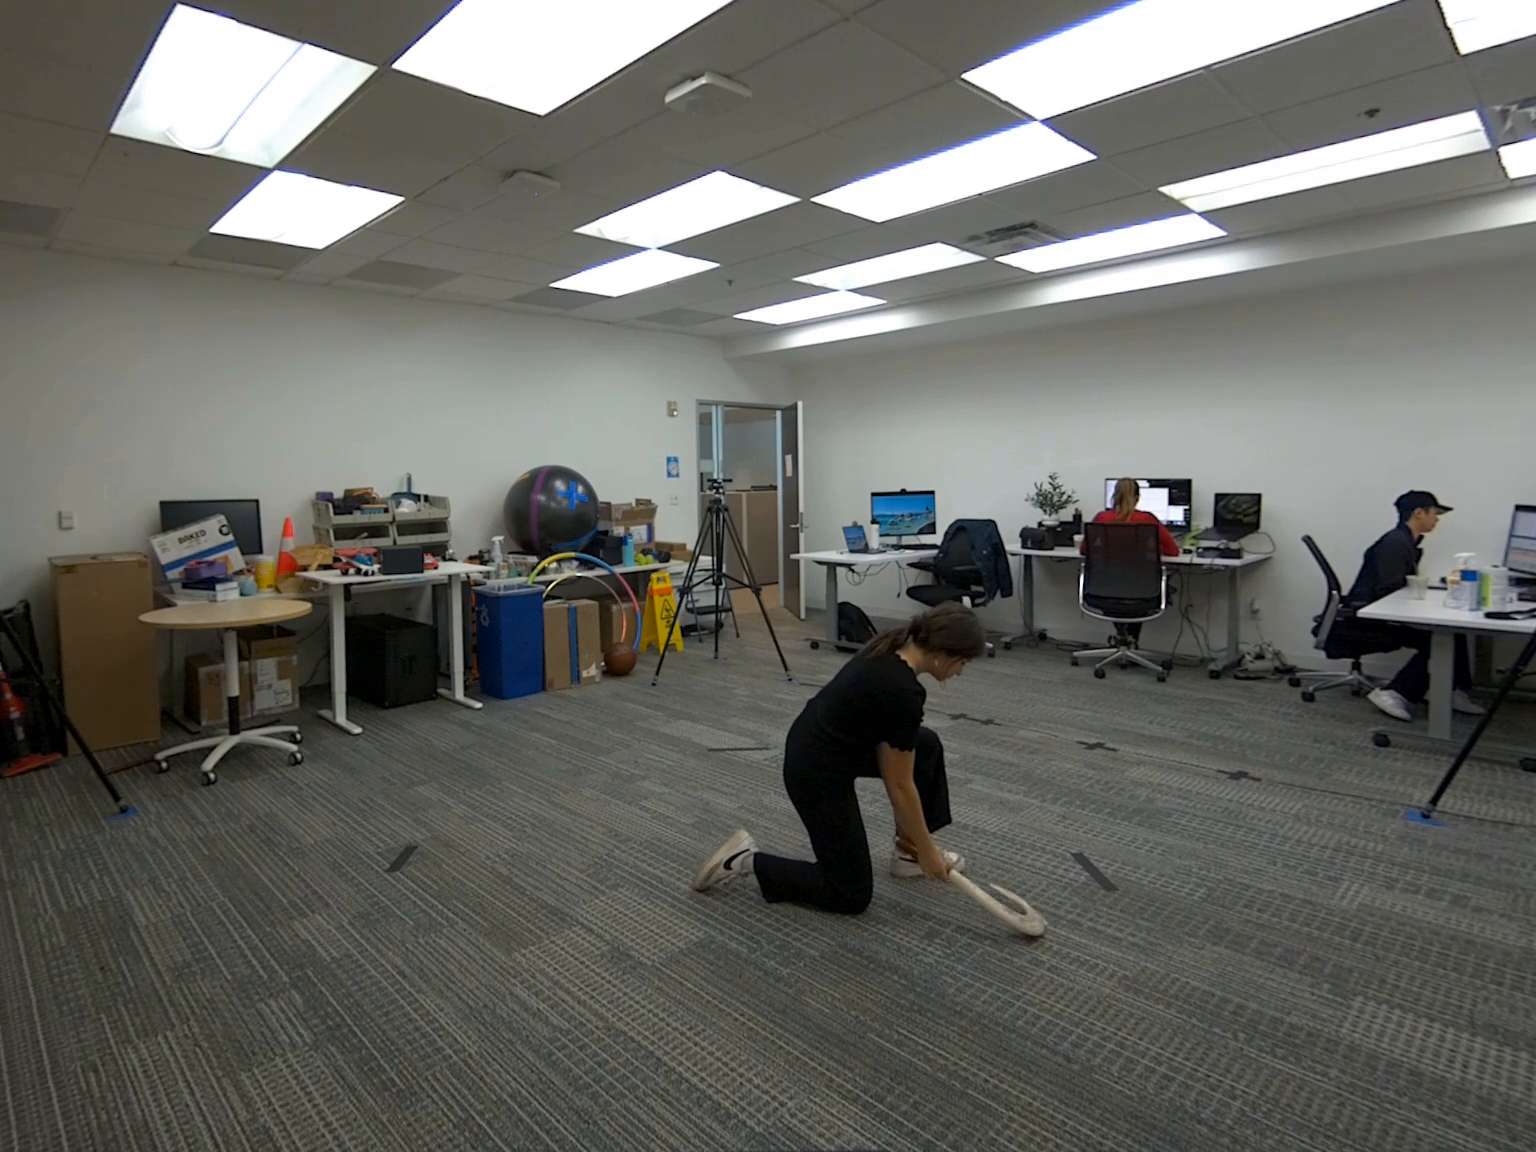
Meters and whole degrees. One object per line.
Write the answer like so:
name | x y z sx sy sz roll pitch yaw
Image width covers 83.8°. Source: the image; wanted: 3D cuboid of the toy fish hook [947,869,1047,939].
toy fish hook | 0.635 0.970 2.726 0.523 0.048 0.217 28 4 29
